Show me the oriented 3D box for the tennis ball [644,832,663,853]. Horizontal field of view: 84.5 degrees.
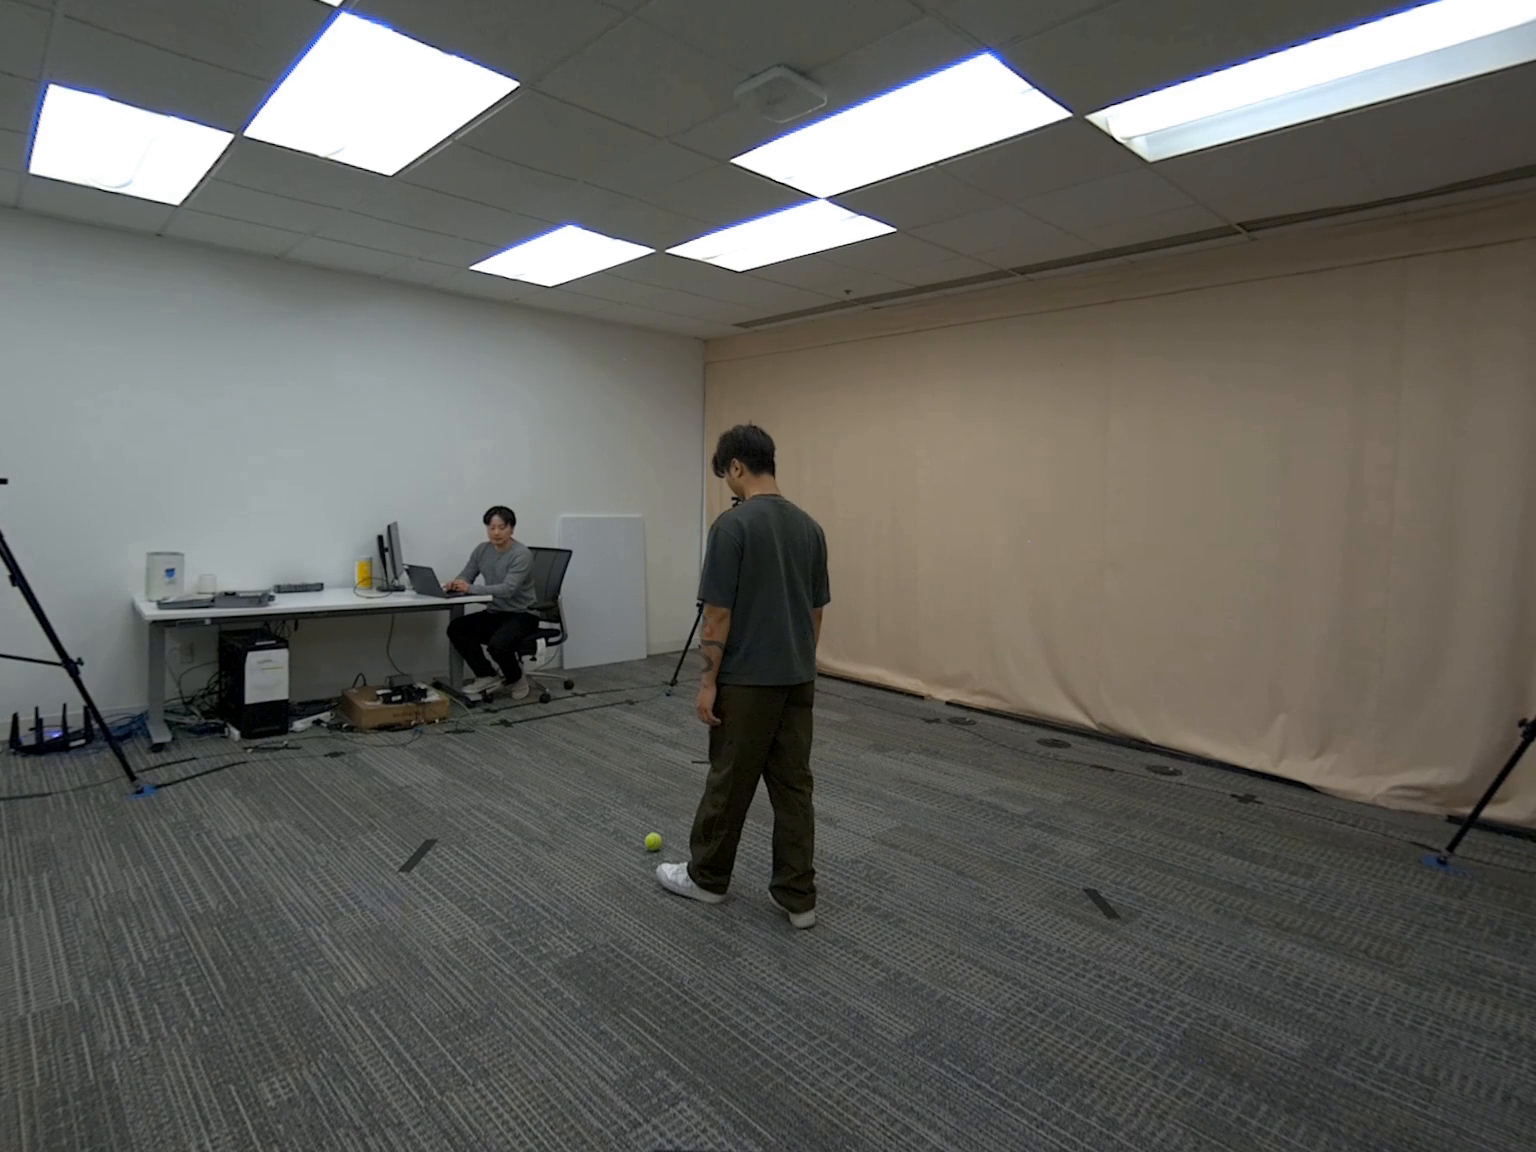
[{"bbox_3d":[-0.466,1.037,3.311,0.066,0.066,0.067,1,4,-1],"label":"tennis ball"}]
